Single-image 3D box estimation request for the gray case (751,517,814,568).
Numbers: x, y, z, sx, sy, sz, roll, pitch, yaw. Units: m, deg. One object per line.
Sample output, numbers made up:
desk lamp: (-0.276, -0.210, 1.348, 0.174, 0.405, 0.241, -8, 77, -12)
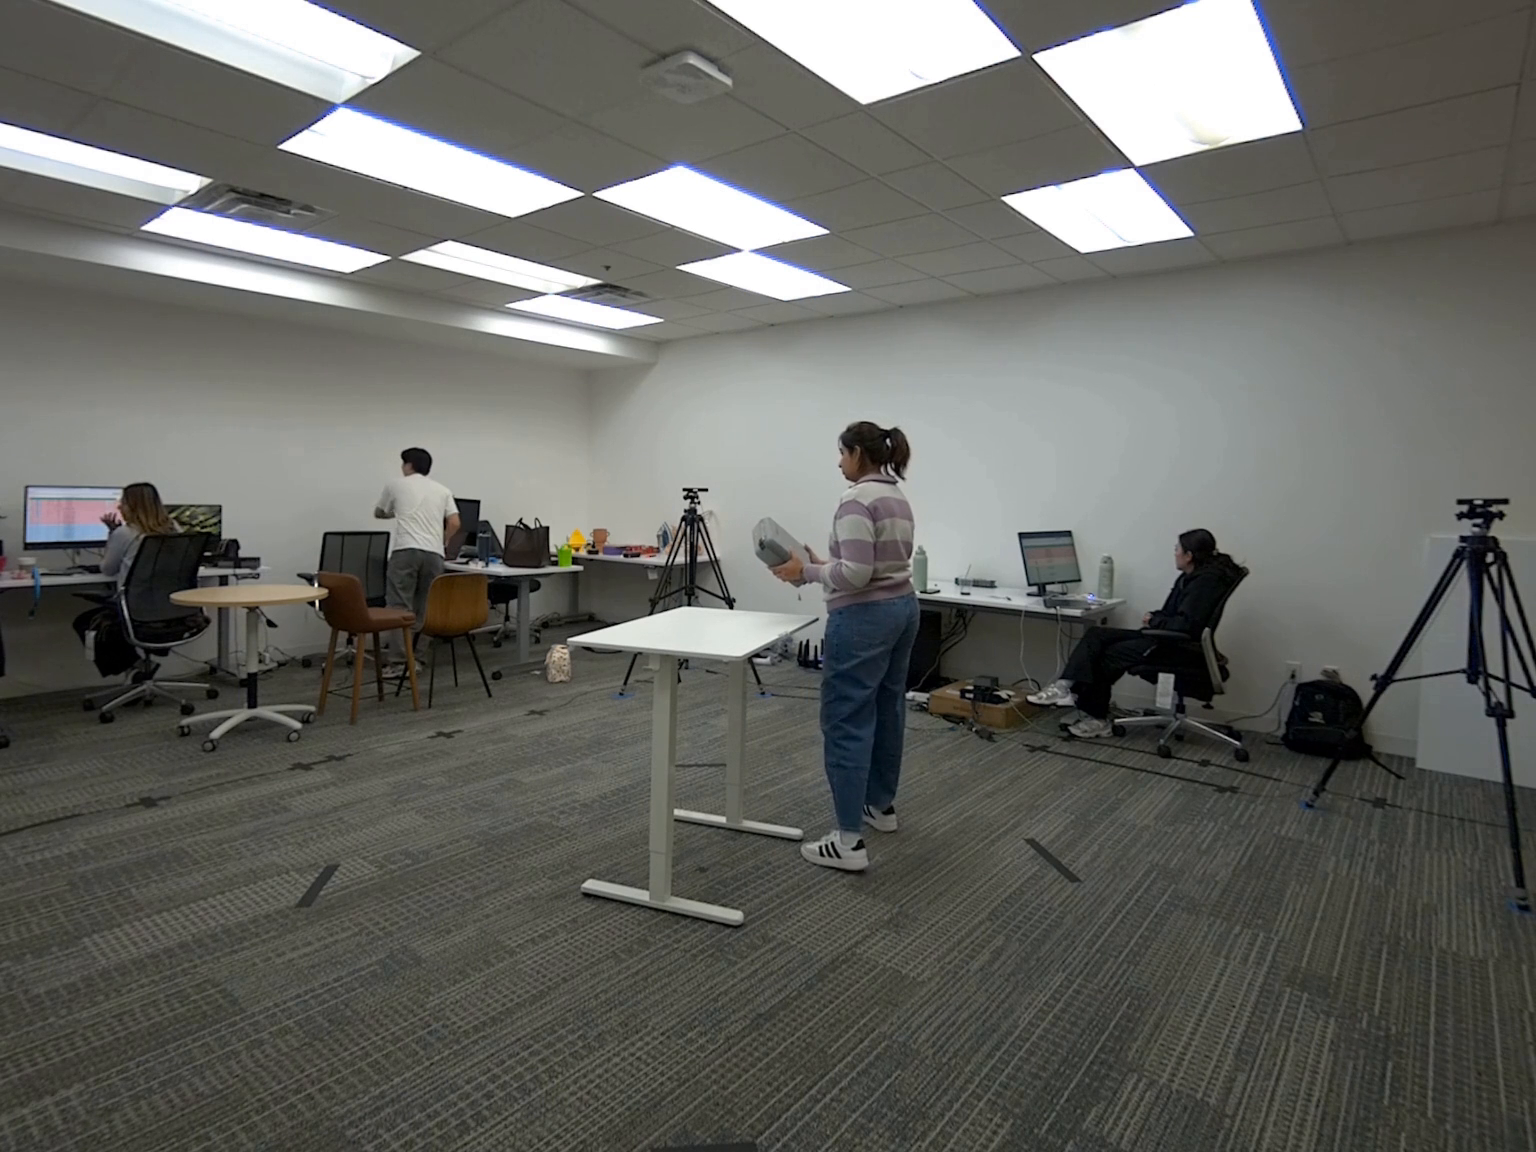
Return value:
gray case: (0.056, -0.109, 3.510, 0.254, 0.104, 0.263, 39, 14, -19)
